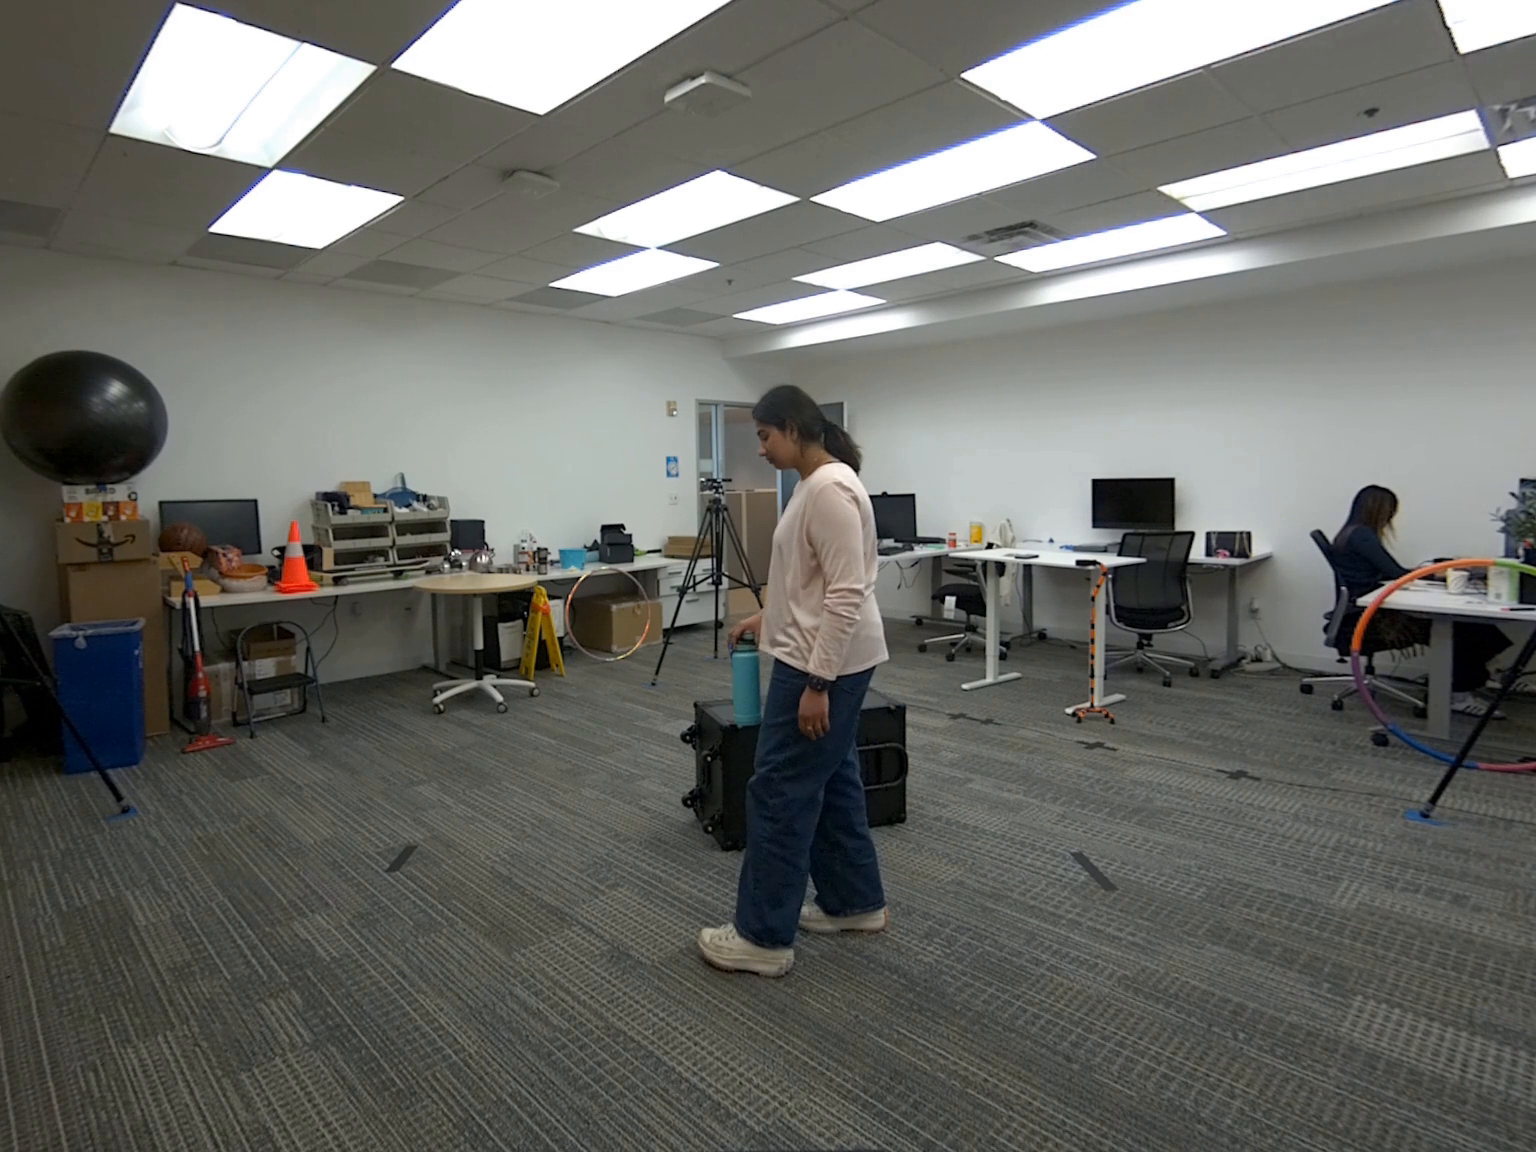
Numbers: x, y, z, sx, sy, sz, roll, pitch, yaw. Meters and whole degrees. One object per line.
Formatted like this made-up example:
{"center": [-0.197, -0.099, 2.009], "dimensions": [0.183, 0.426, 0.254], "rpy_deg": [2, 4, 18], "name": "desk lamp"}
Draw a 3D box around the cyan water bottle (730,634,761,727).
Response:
{"center": [-0.062, 0.325, 2.709], "dimensions": [0.092, 0.283, 0.092], "rpy_deg": [-3, 0, -2], "name": "cyan water bottle"}
